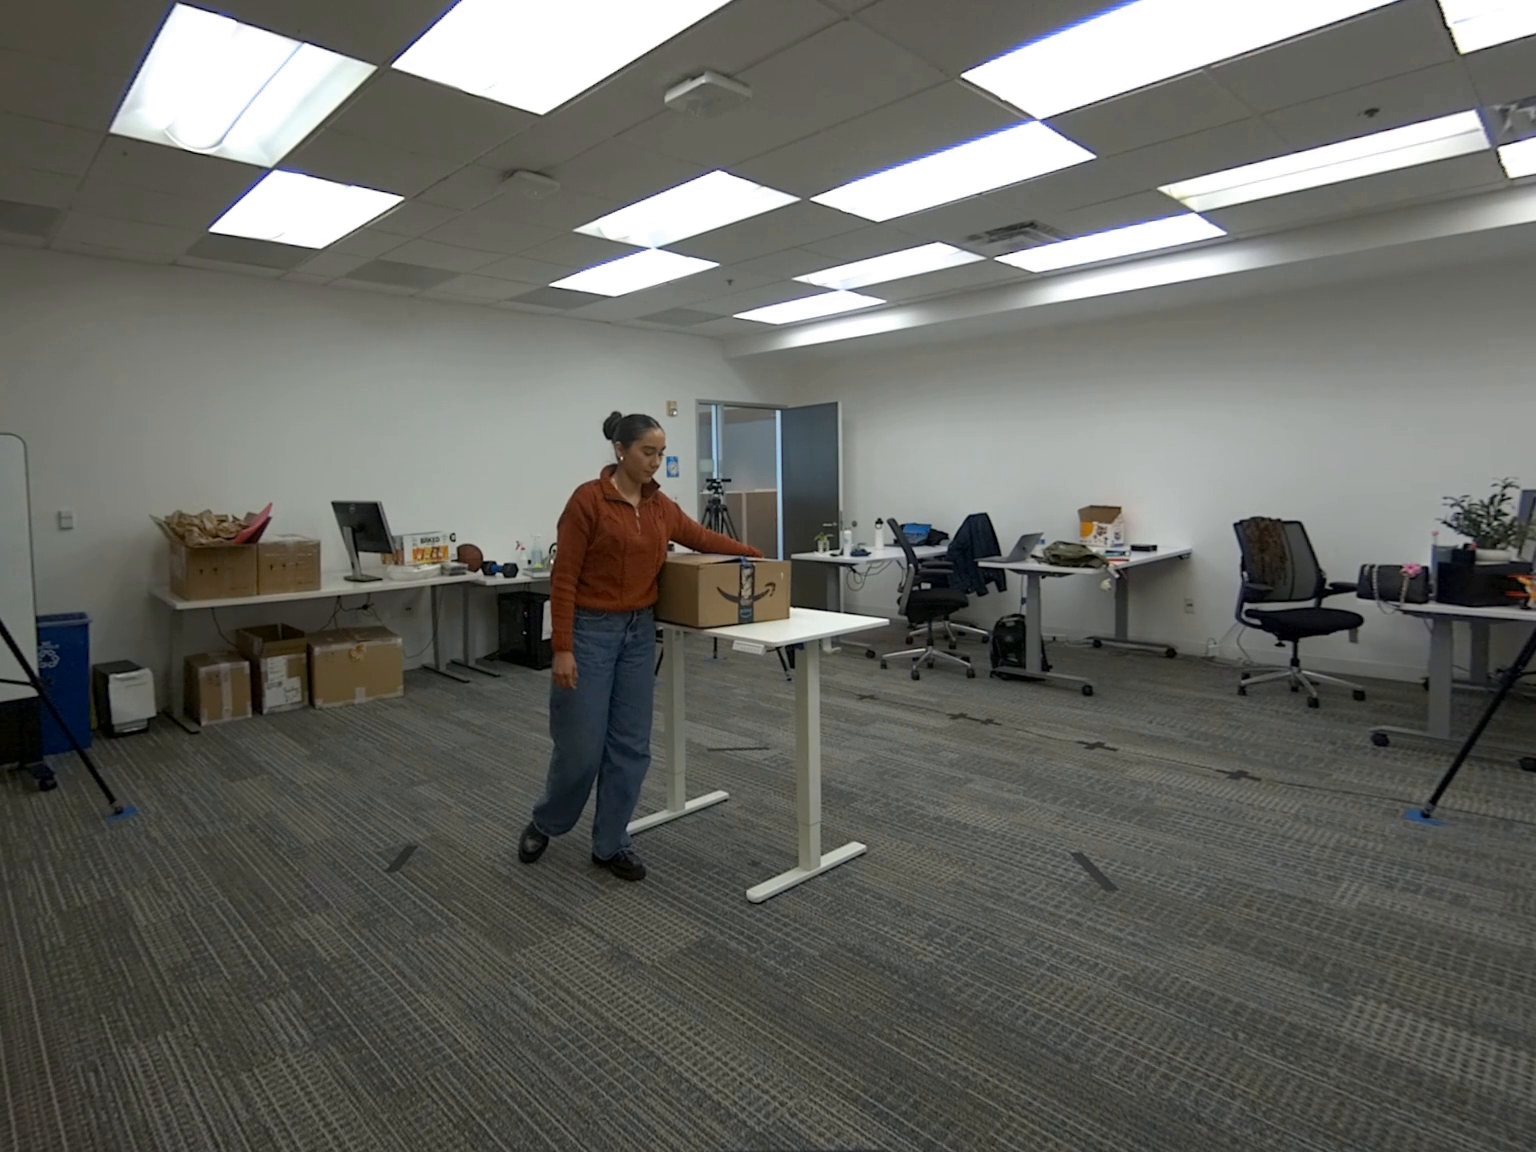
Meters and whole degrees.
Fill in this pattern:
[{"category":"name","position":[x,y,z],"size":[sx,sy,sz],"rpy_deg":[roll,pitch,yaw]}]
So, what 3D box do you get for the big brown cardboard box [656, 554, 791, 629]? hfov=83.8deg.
[{"category":"big brown cardboard box","position":[-0.253,0.038,3.233],"size":[0.406,0.232,0.606],"rpy_deg":[-3,5,-39]}]
